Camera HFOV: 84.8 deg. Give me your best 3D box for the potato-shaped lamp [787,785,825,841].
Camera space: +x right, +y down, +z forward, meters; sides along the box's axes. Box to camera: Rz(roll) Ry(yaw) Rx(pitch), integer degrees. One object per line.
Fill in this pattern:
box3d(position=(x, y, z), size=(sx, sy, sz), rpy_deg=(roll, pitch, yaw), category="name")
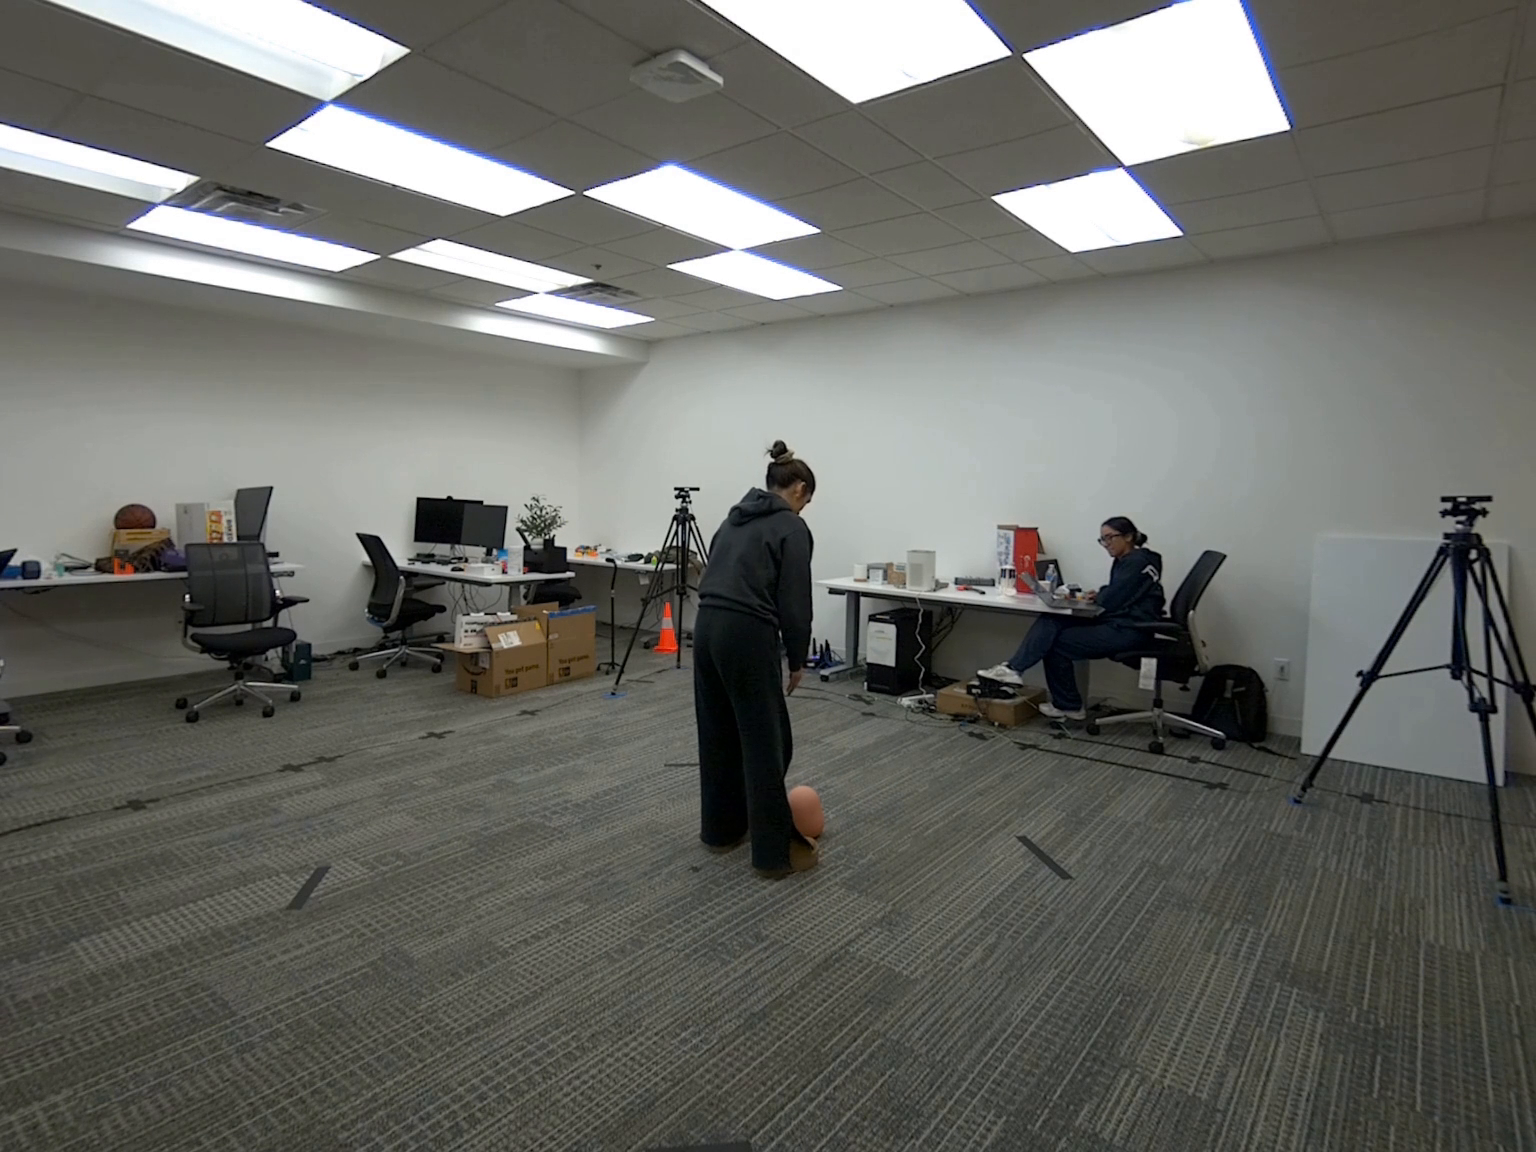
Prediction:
box3d(position=(0.140, 0.939, 3.434), size=(0.170, 0.197, 0.167), rpy_deg=(7, 9, 31), category="potato-shaped lamp")
